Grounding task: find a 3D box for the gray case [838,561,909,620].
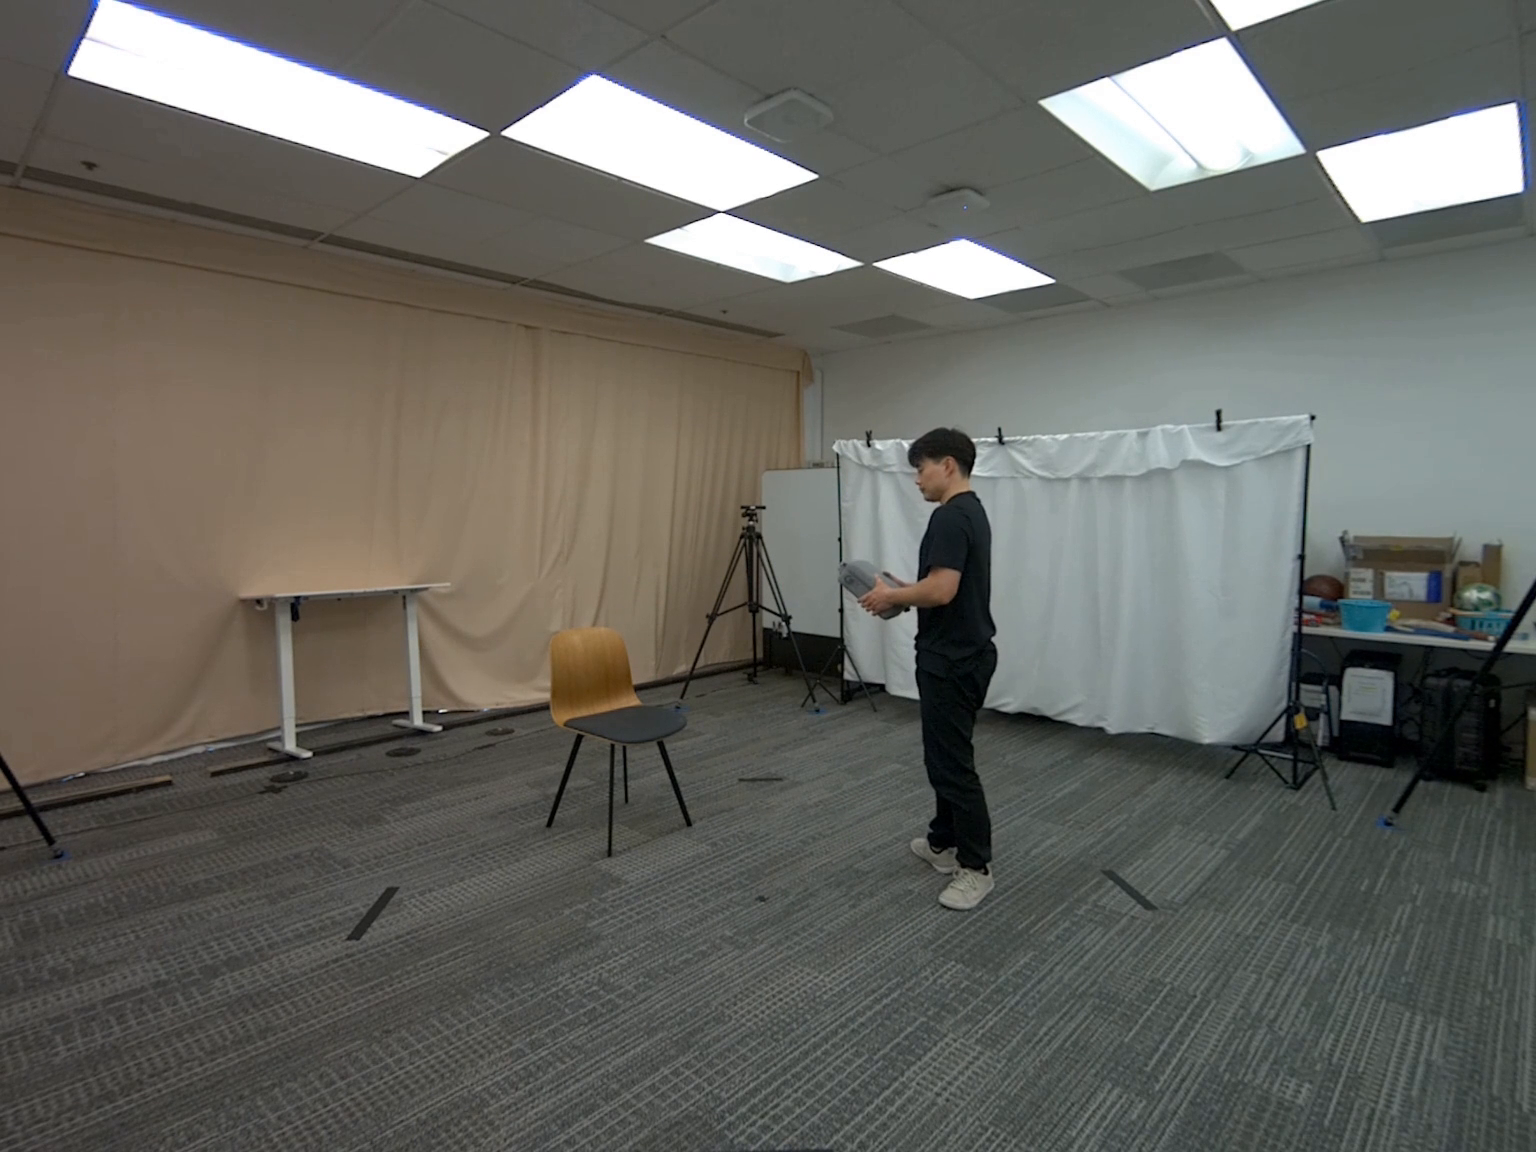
[{"bbox_3d":[0.412,0.048,3.229,0.267,0.104,0.250,41,16,20],"label":"gray case"}]
